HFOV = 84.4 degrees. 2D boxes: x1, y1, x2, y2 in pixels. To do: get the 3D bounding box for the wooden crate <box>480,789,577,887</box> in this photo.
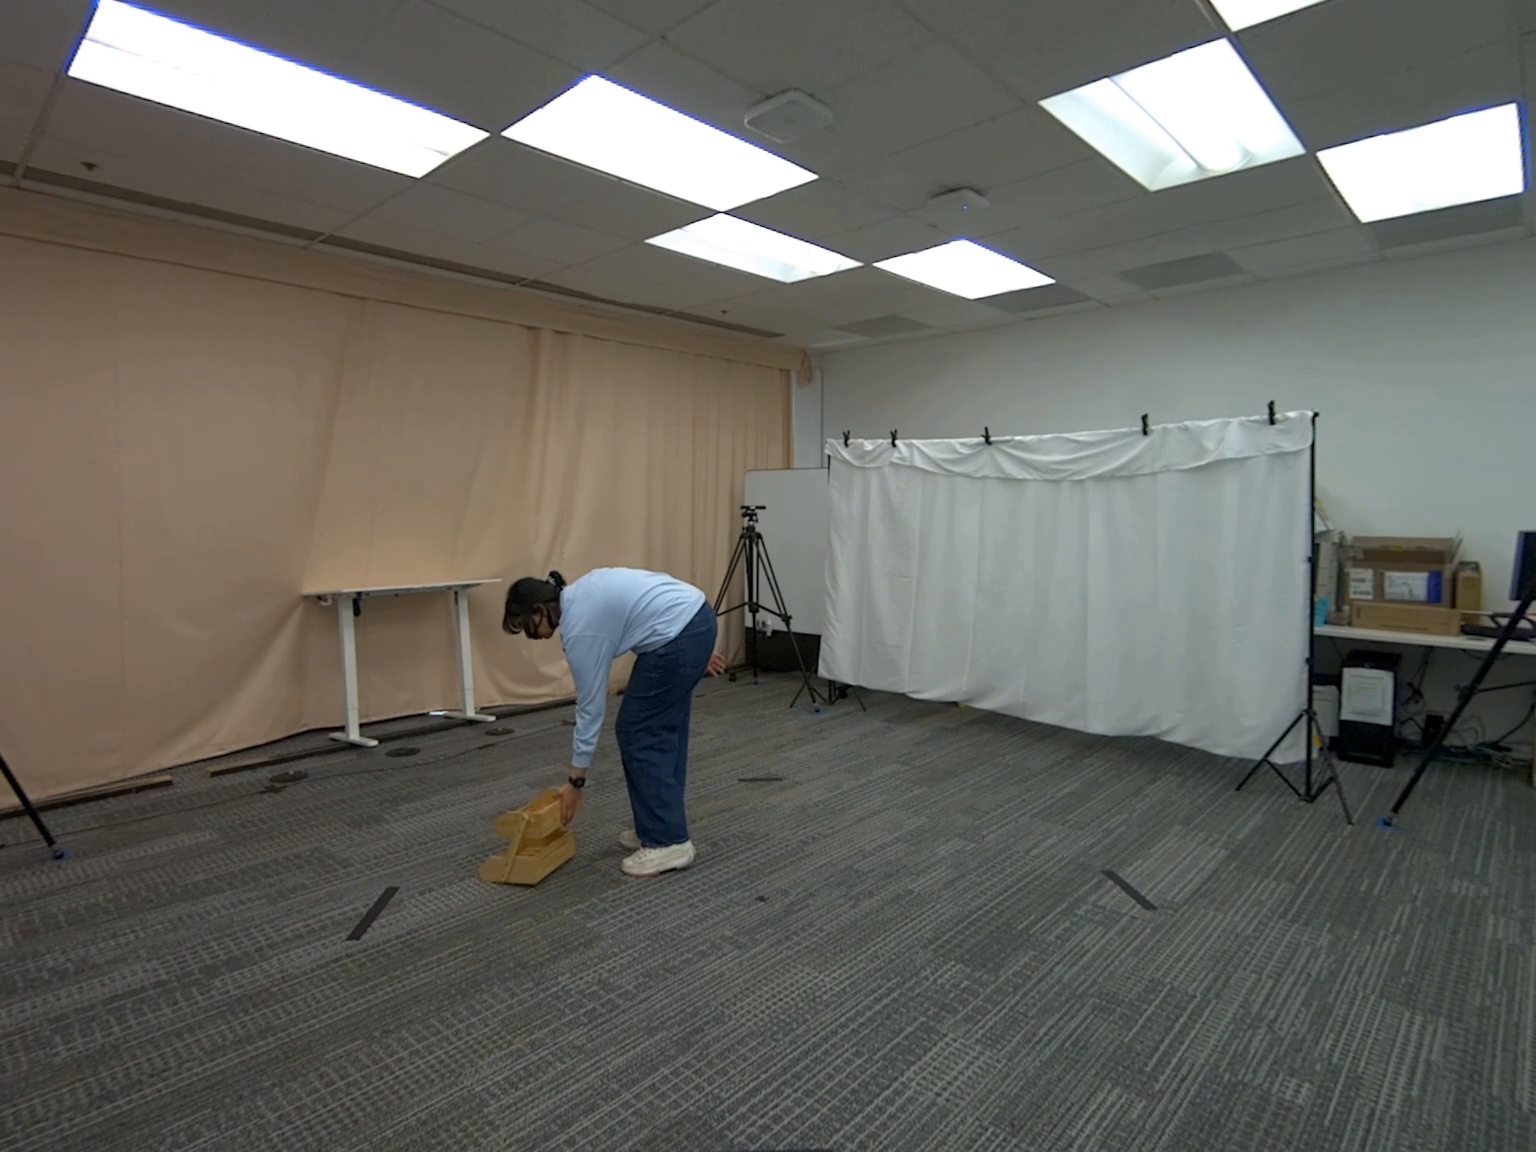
[{"bbox_3d":[-0.922,0.989,3.234,0.308,0.273,0.319,-5,1,18],"label":"wooden crate"}]
